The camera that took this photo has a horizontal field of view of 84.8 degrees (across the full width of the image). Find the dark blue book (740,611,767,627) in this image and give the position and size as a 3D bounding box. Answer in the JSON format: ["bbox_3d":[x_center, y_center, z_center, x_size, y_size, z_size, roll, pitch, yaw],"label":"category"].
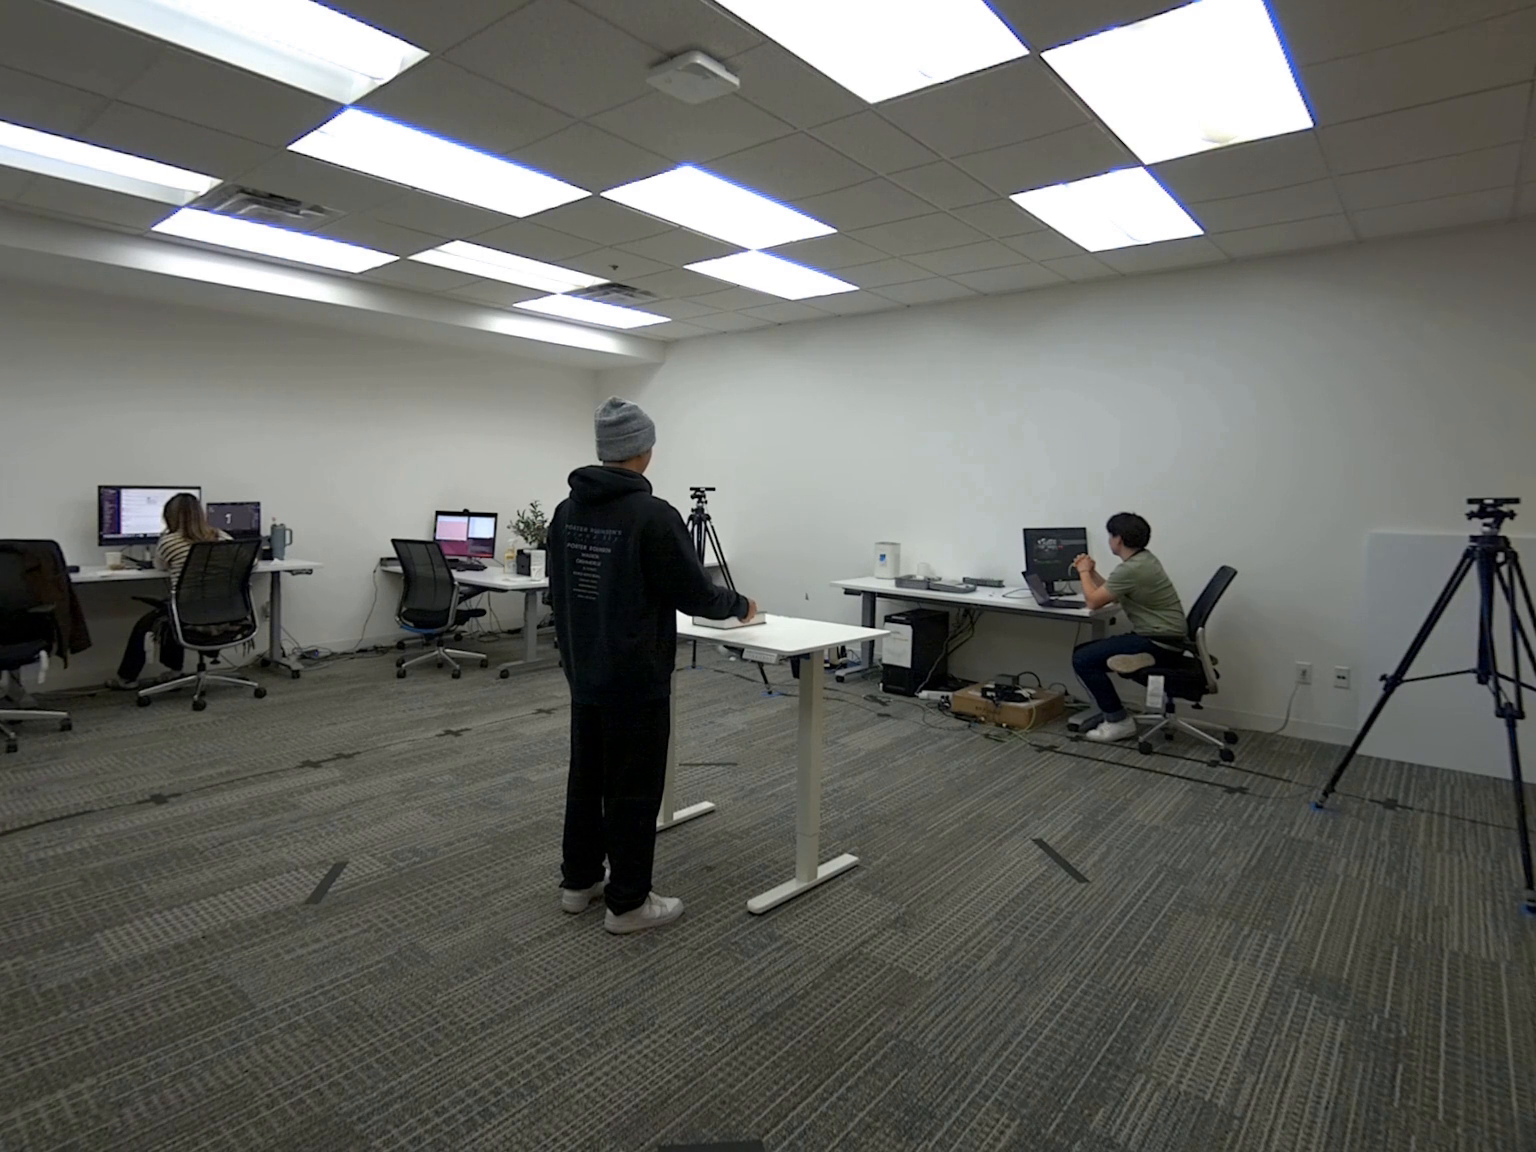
[{"bbox_3d":[-0.149,0.157,3.185,0.169,0.045,0.238,5,6,40],"label":"dark blue book"}]
